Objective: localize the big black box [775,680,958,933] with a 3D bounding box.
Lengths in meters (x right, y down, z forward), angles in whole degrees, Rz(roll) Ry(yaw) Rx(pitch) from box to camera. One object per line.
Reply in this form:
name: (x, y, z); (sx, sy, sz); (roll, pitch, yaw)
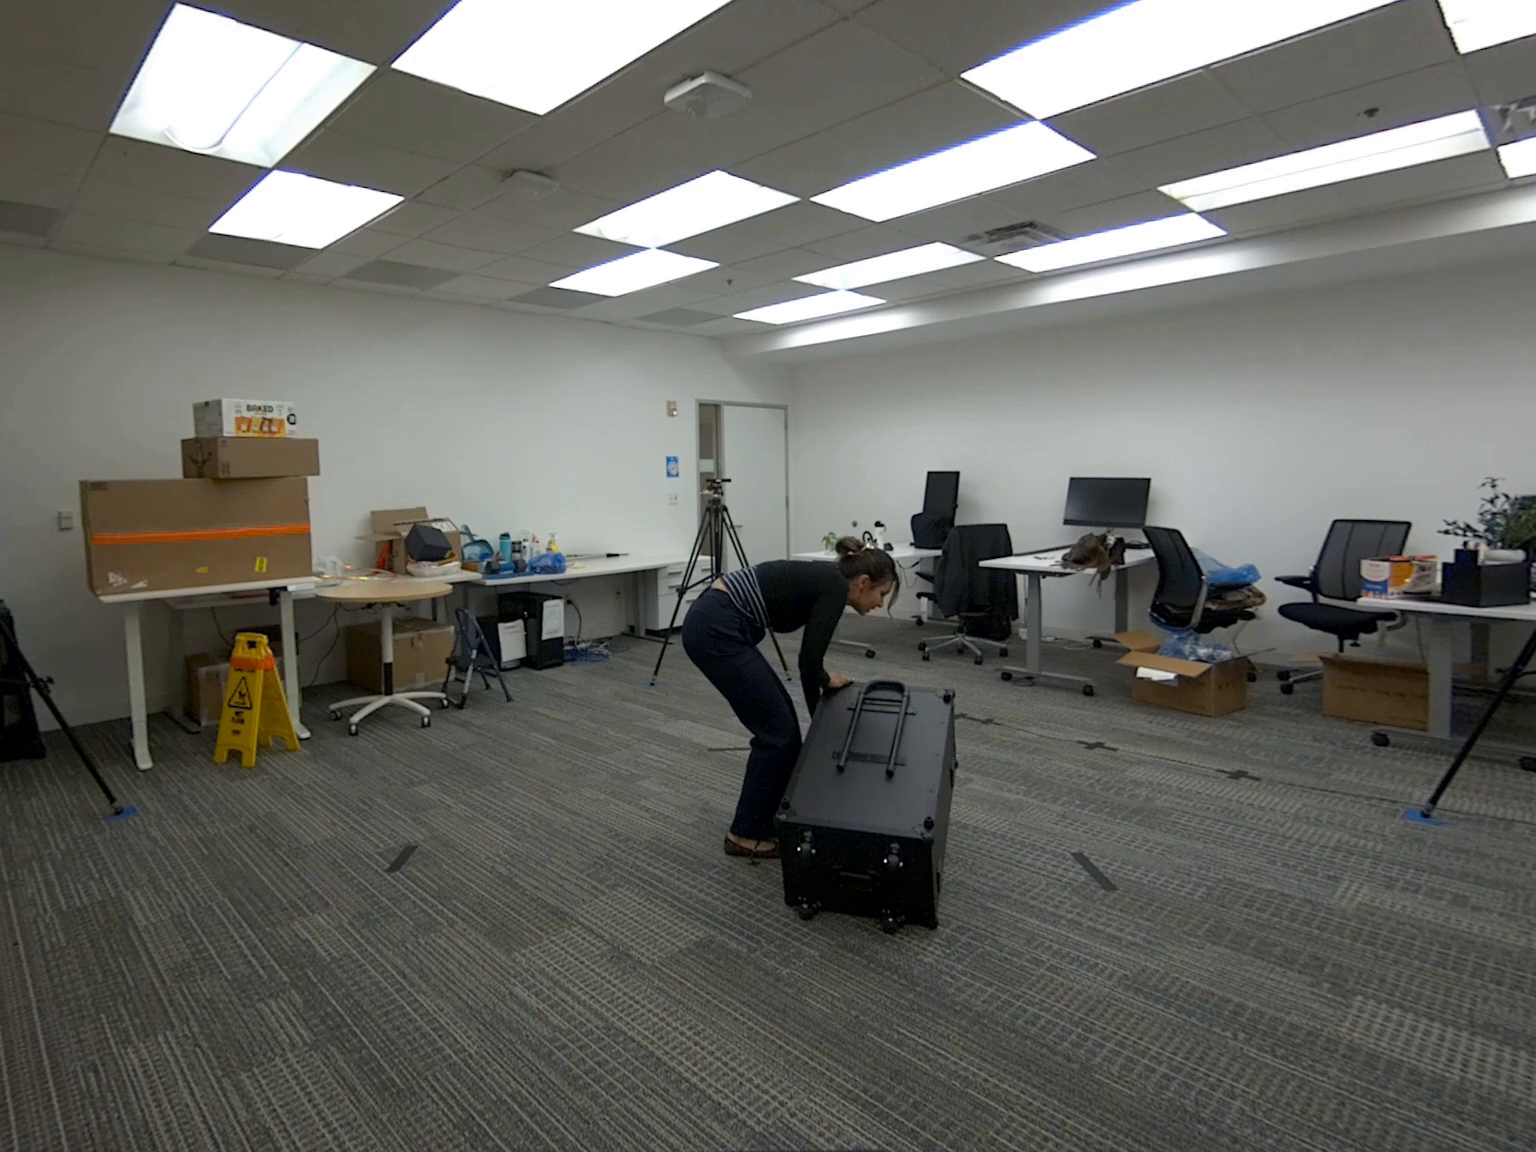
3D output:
big black box: (0.368, 0.749, 2.935); (0.531, 0.387, 0.866); (0, 27, 18)
